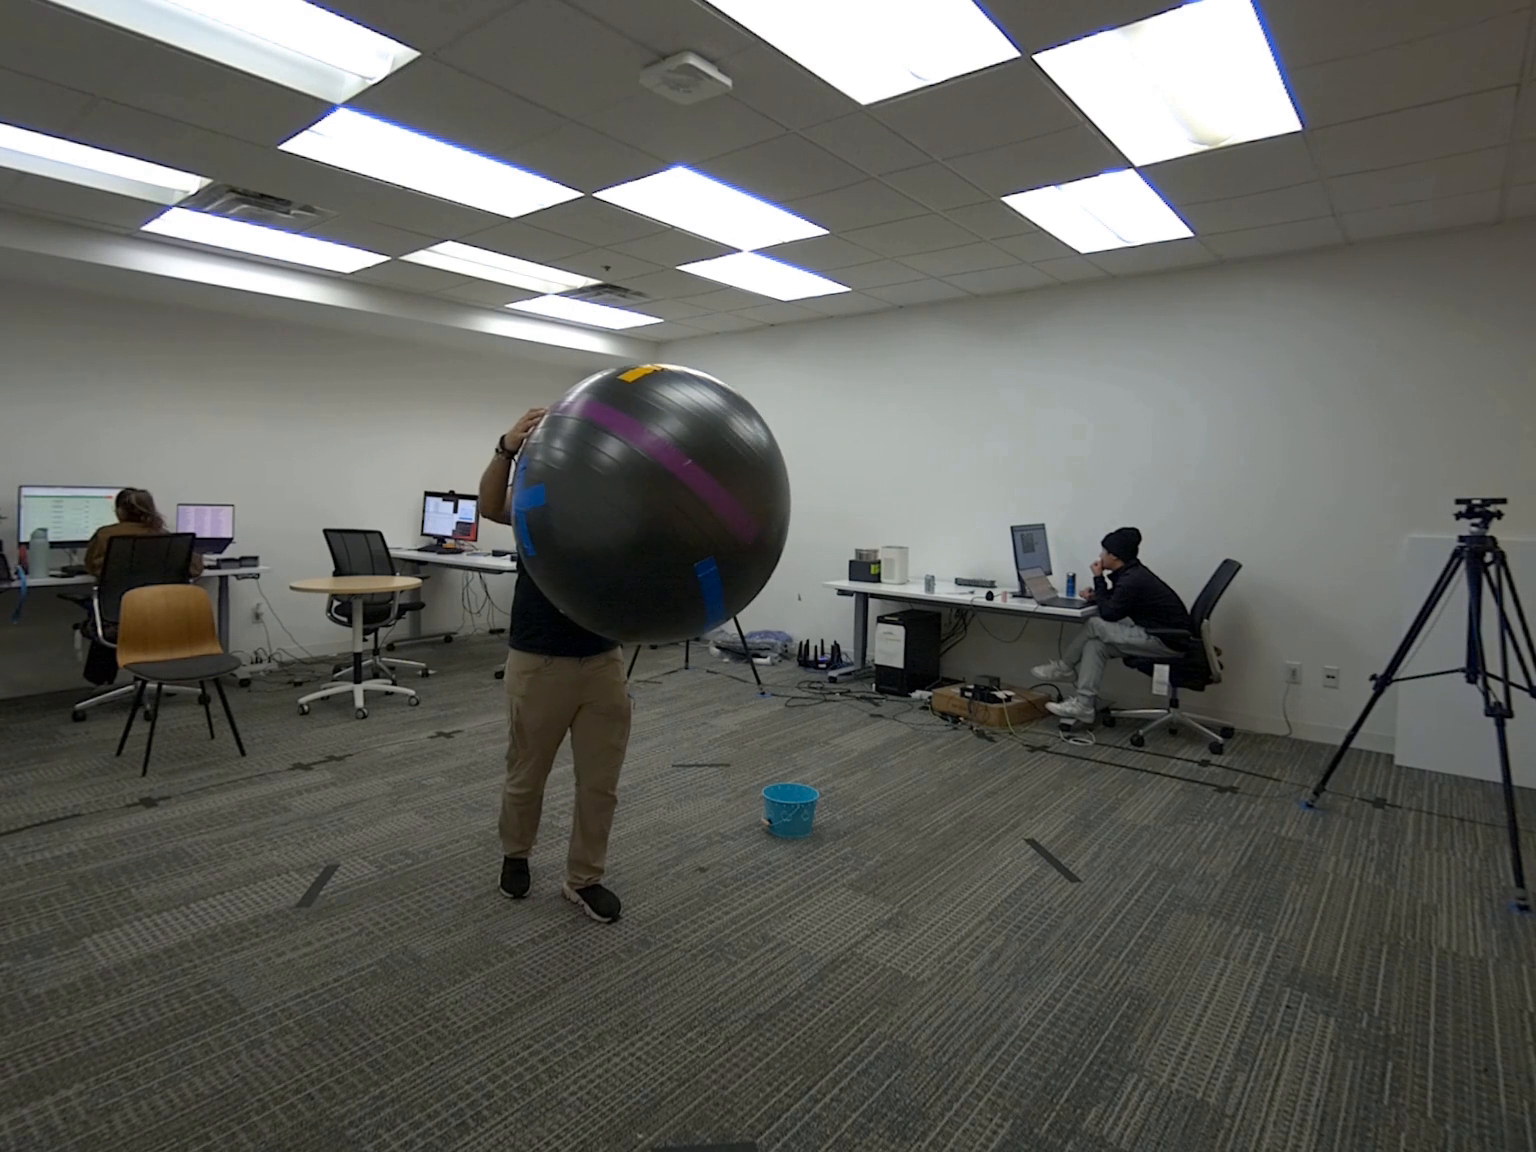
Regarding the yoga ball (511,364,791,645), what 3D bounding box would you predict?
[{"bbox_3d":[-0.329,-0.190,2.317,0.757,0.755,0.762,1,4,-2],"label":"yoga ball"}]
